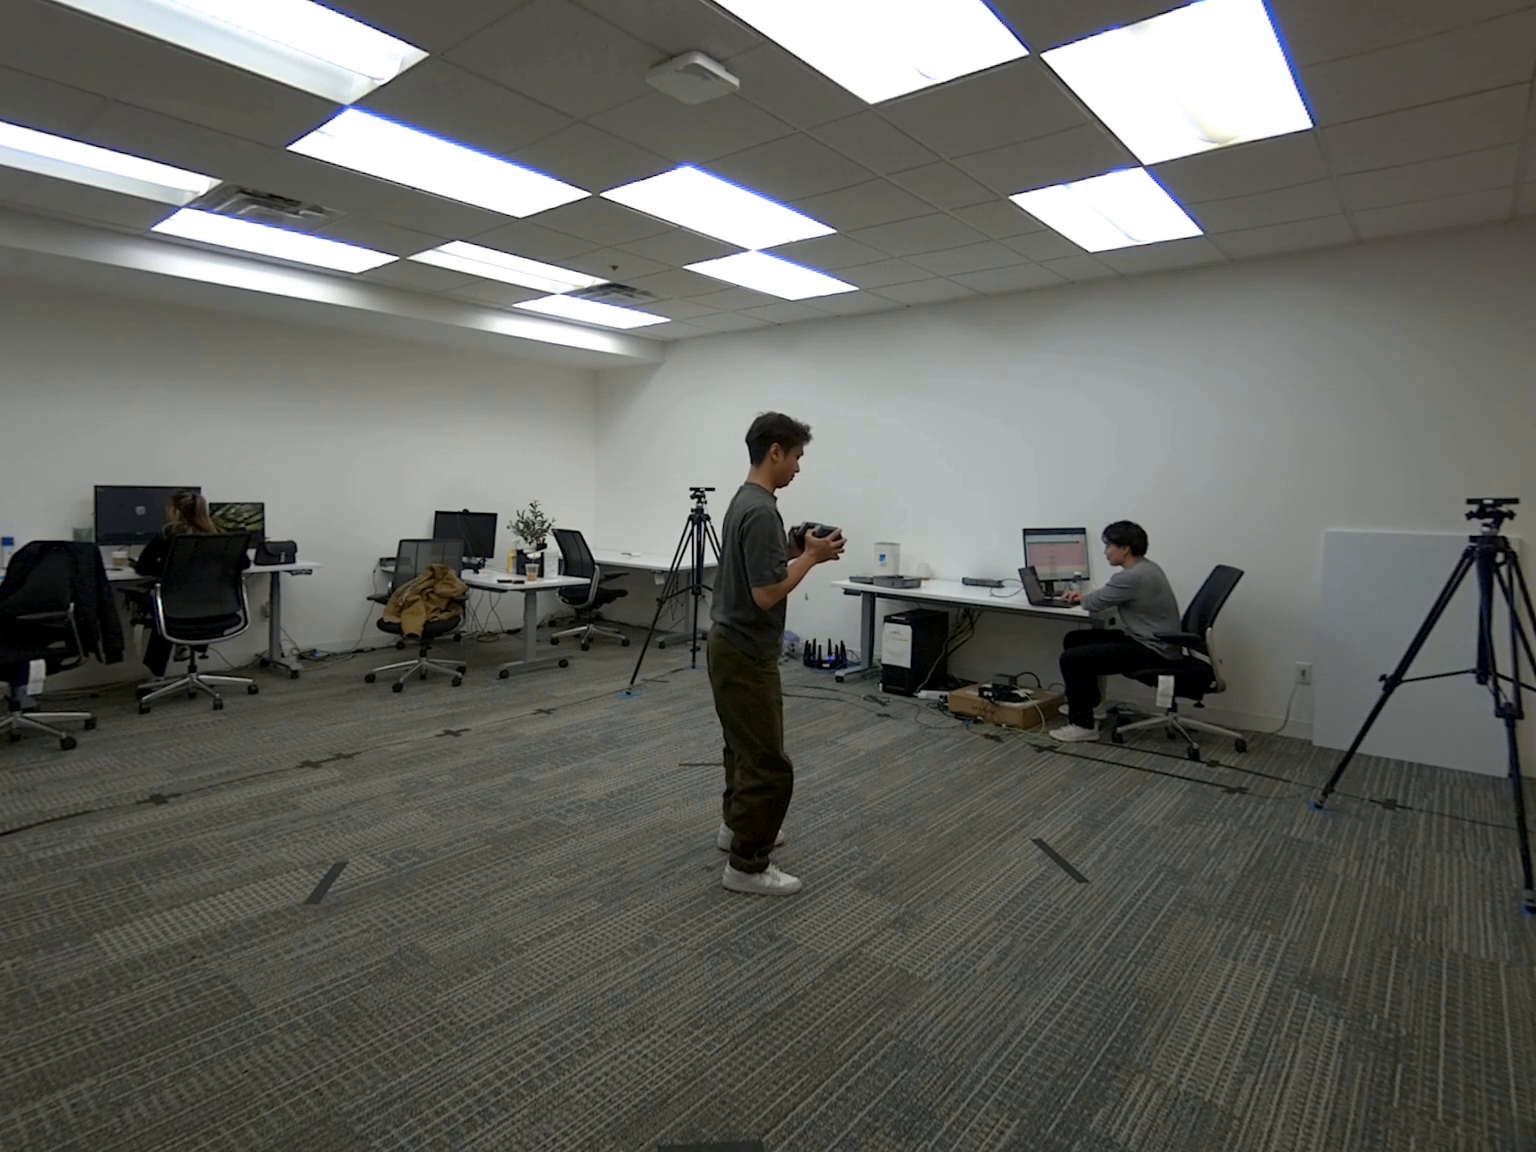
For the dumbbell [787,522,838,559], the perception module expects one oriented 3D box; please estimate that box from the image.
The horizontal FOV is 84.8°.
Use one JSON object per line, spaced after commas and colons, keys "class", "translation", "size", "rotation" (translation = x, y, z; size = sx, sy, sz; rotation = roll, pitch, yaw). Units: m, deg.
{"class": "dumbbell", "translation": [0.164, -0.127, 3.065], "size": [0.107, 0.123, 0.298], "rotation": [38, 0, -13]}
